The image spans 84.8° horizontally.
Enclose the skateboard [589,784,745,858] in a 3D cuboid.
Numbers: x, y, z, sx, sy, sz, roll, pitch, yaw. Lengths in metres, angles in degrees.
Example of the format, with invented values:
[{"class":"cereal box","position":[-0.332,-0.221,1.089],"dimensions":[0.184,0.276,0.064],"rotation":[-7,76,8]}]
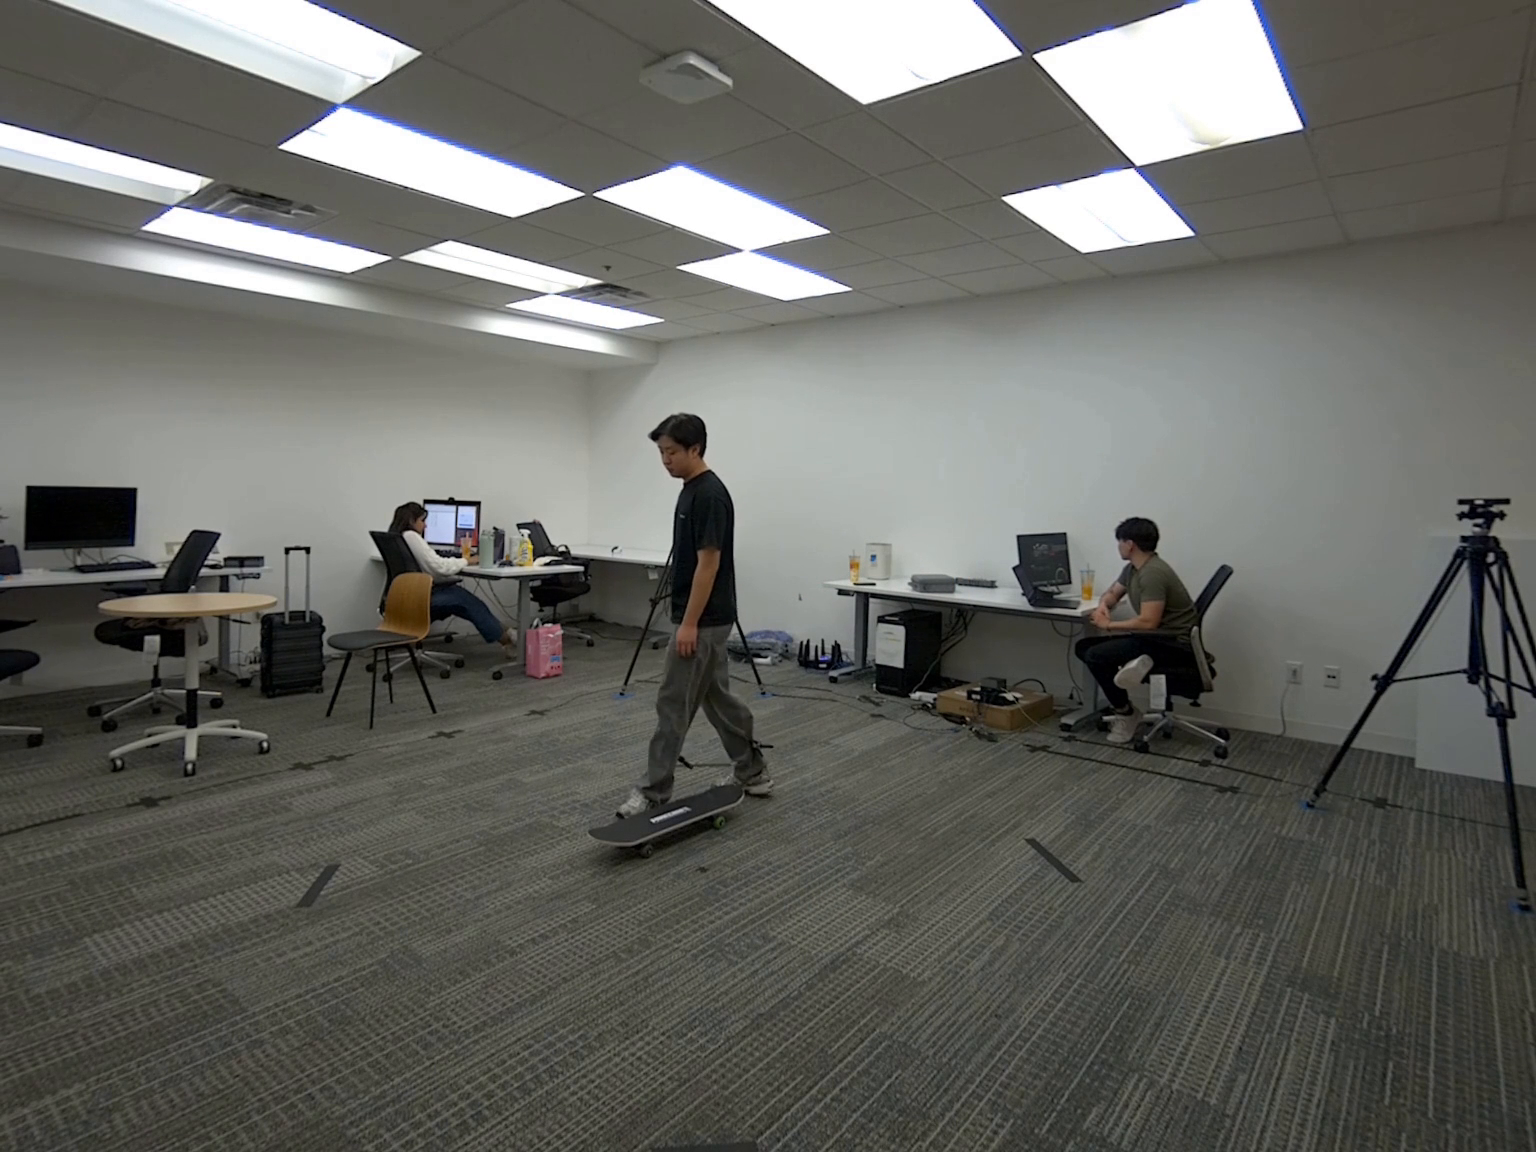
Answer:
[{"class":"skateboard","position":[-0.395,0.985,3.400],"dimensions":[0.200,0.110,0.762],"rotation":[6,8,41]}]
